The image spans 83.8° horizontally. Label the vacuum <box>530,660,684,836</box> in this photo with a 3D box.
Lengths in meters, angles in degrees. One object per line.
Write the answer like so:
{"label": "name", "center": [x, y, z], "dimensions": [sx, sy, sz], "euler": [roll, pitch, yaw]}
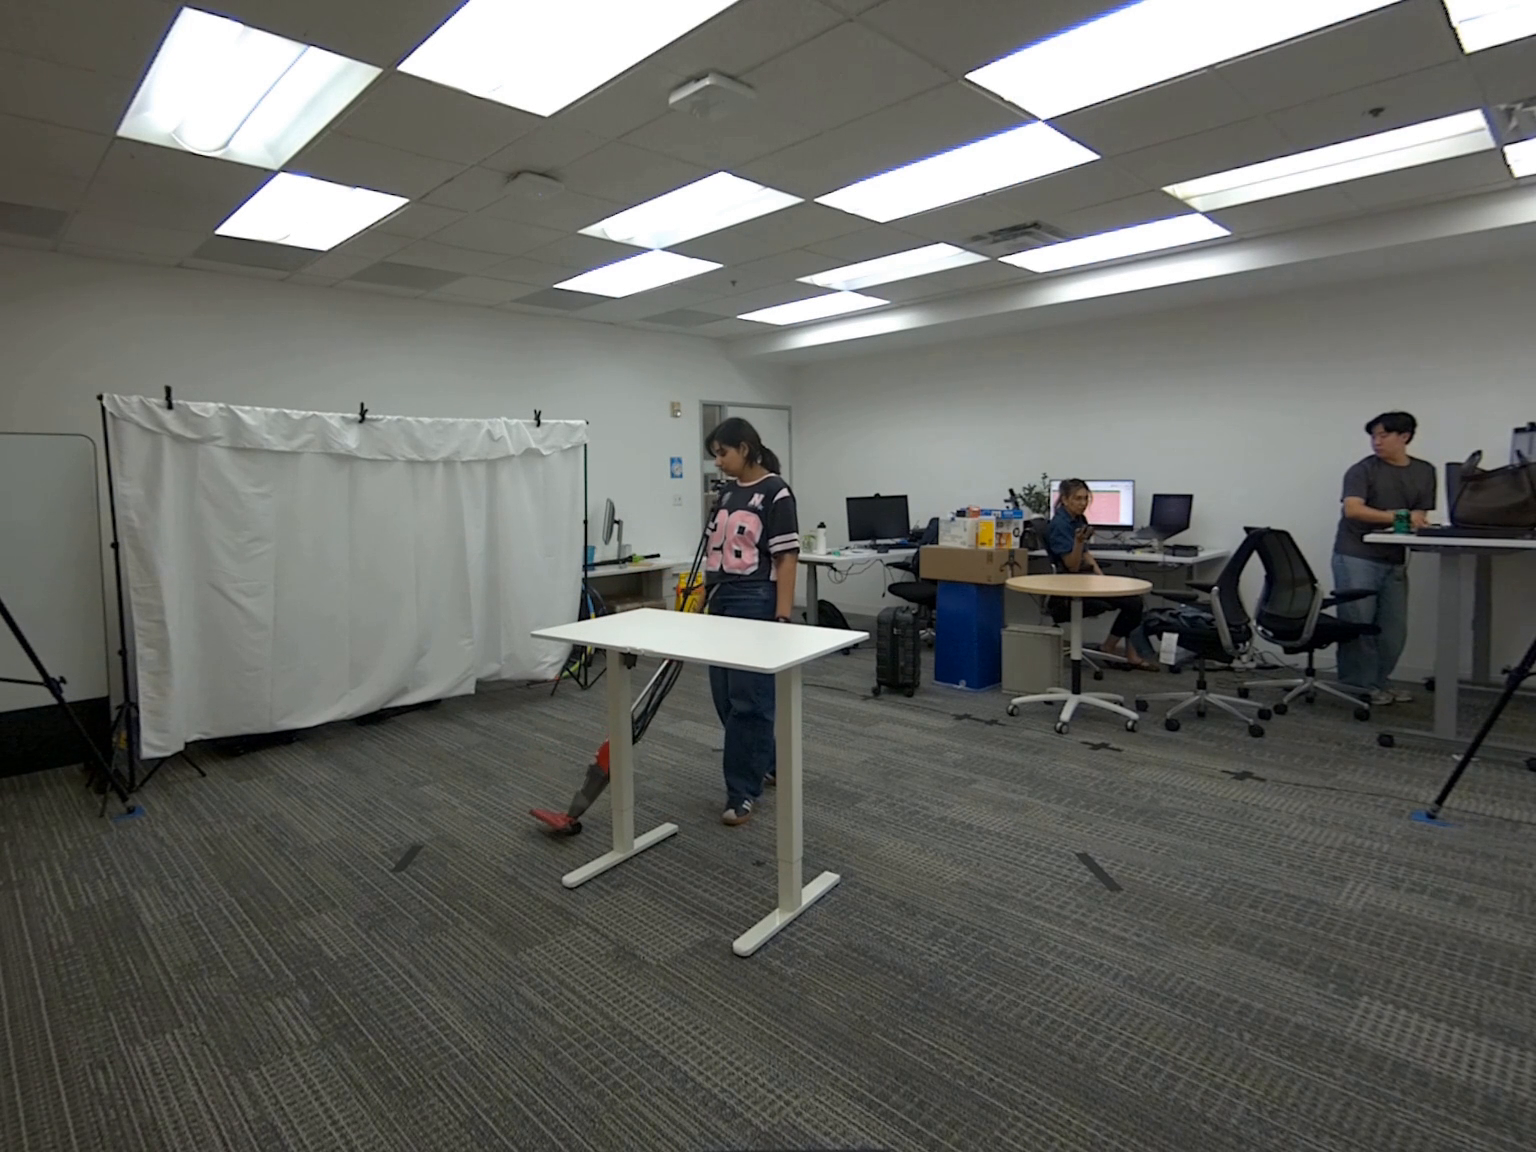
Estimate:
{"label": "vacuum", "center": [-0.572, 0.624, 3.642], "dimensions": [0.260, 0.139, 1.053], "euler": [5, 50, 45]}
